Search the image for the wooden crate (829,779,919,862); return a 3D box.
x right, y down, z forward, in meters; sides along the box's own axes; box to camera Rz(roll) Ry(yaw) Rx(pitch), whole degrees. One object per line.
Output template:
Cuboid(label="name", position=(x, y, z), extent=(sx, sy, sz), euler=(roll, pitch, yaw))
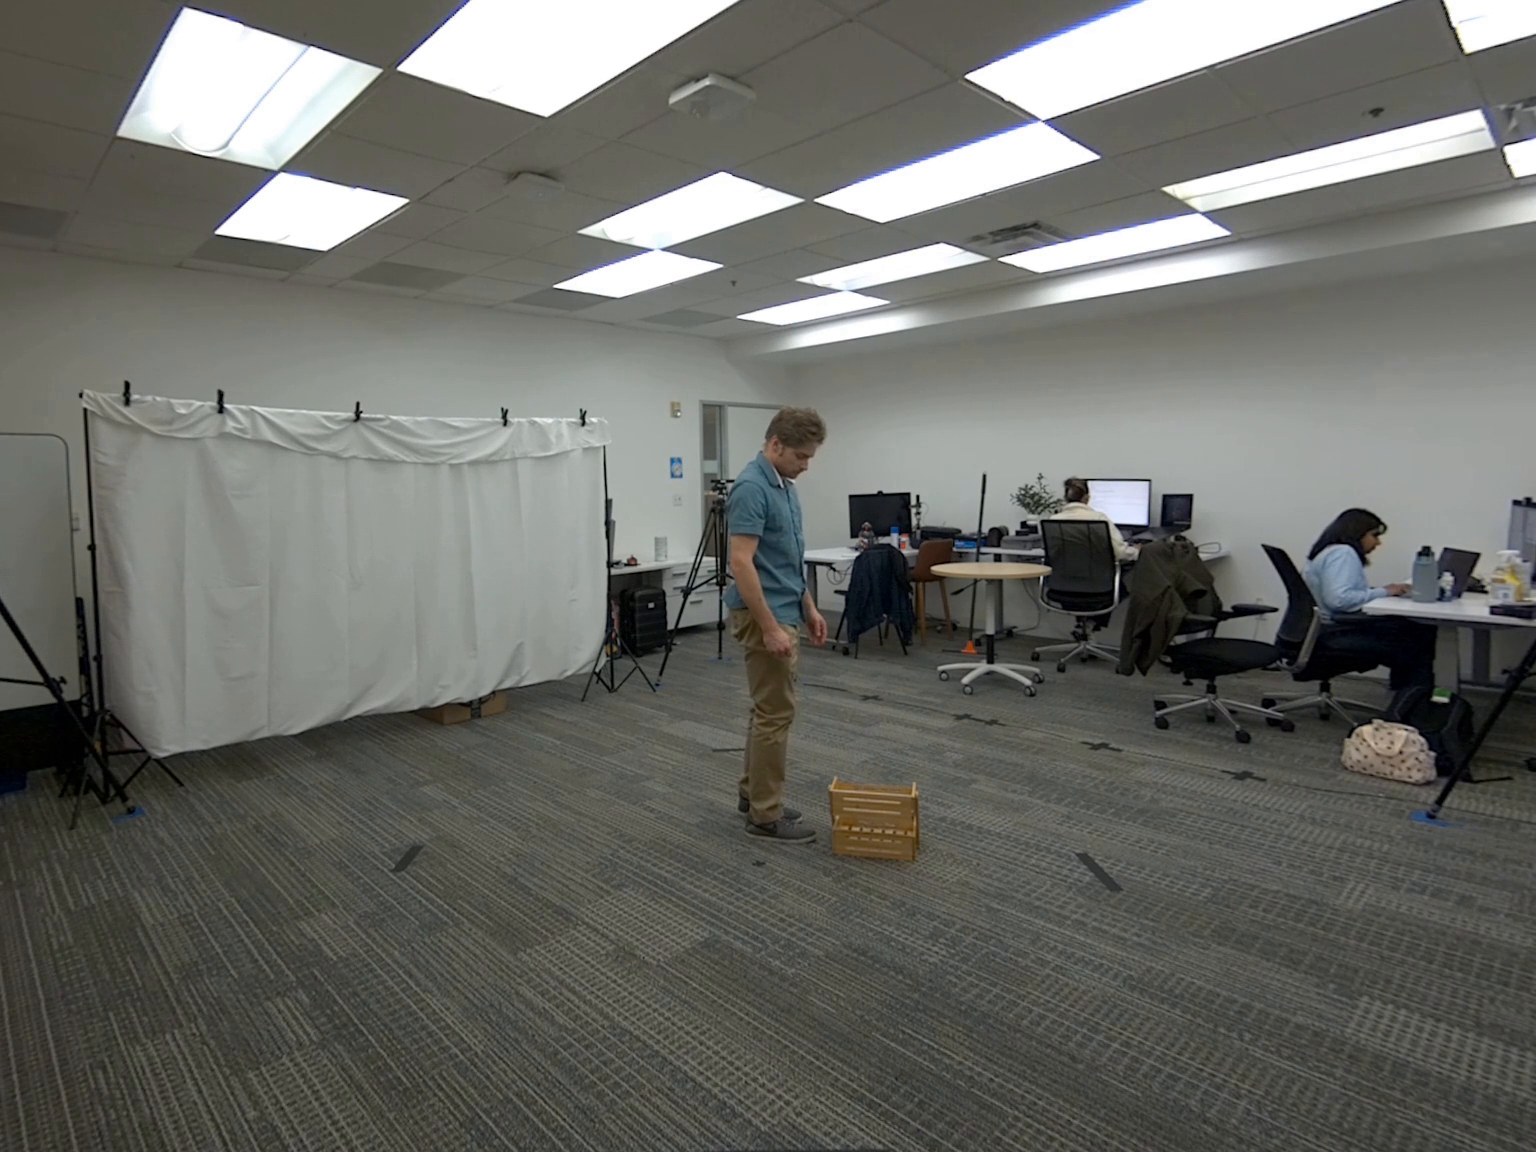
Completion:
Cuboid(label="wooden crate", position=(0.409, 0.891, 3.234), extent=(0.329, 0.272, 0.299), euler=(0, 5, 13))
